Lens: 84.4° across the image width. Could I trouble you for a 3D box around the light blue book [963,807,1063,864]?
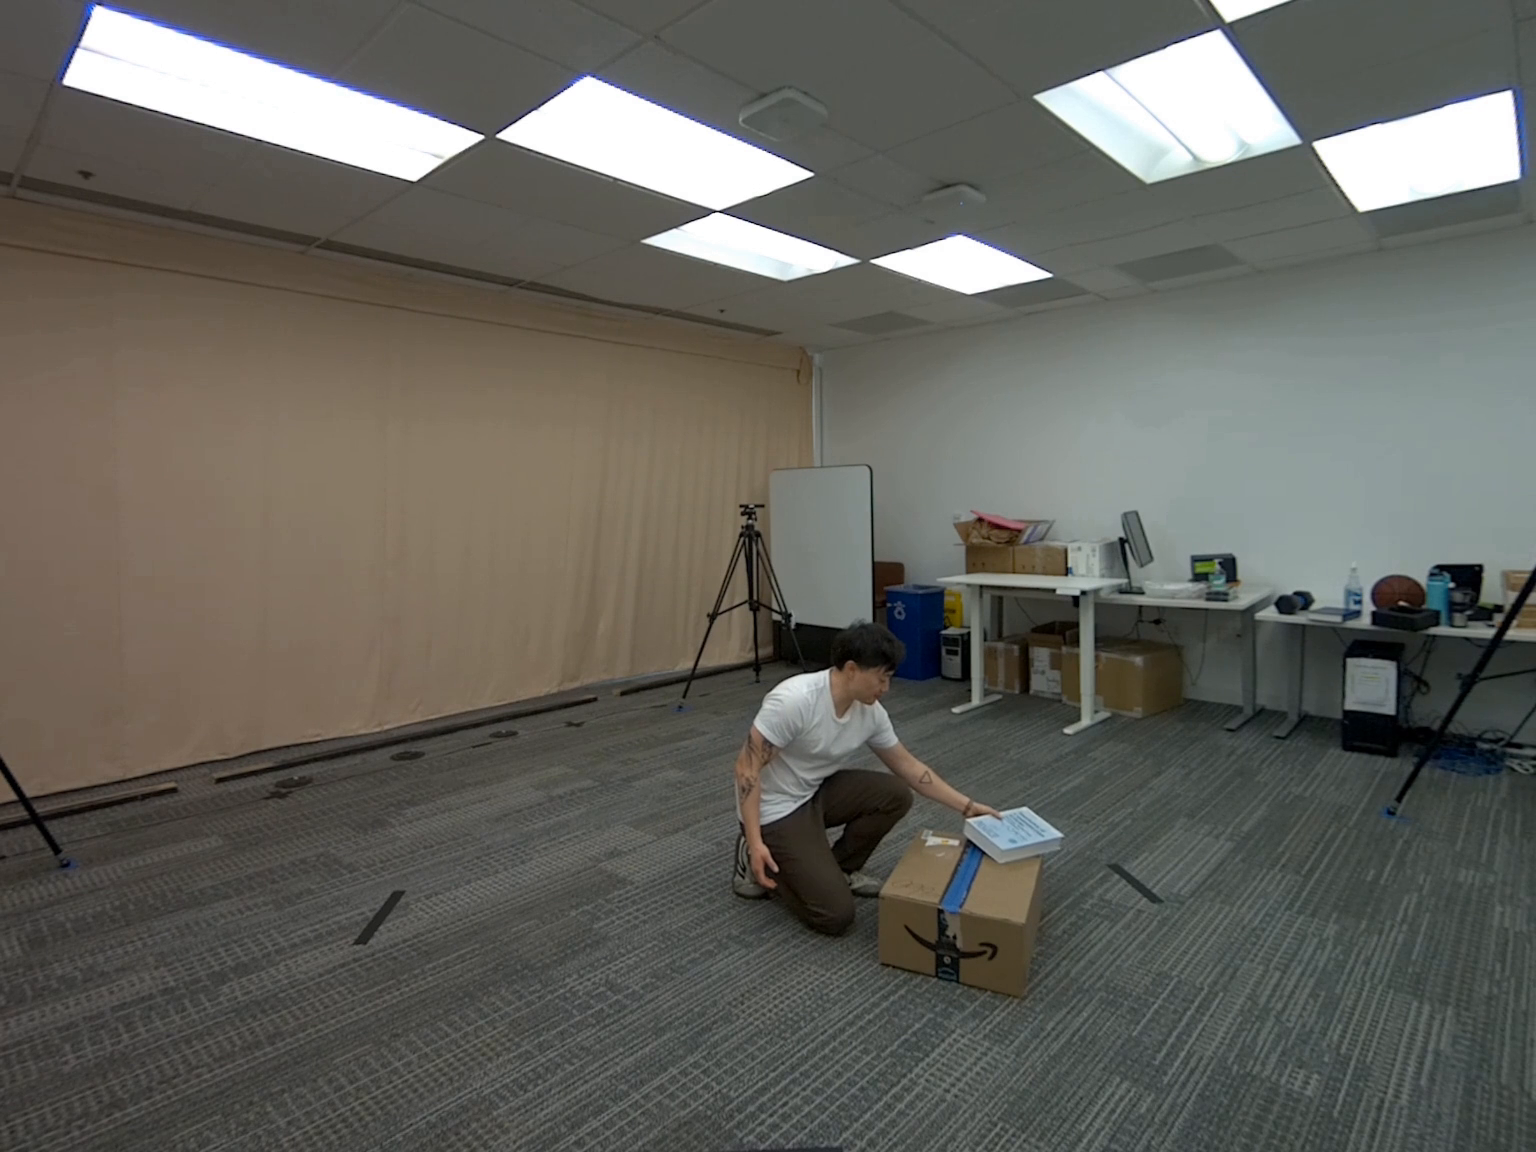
[{"bbox_3d":[0.840,0.880,2.826,0.255,0.058,0.197,-4,16,-23],"label":"light blue book"}]
